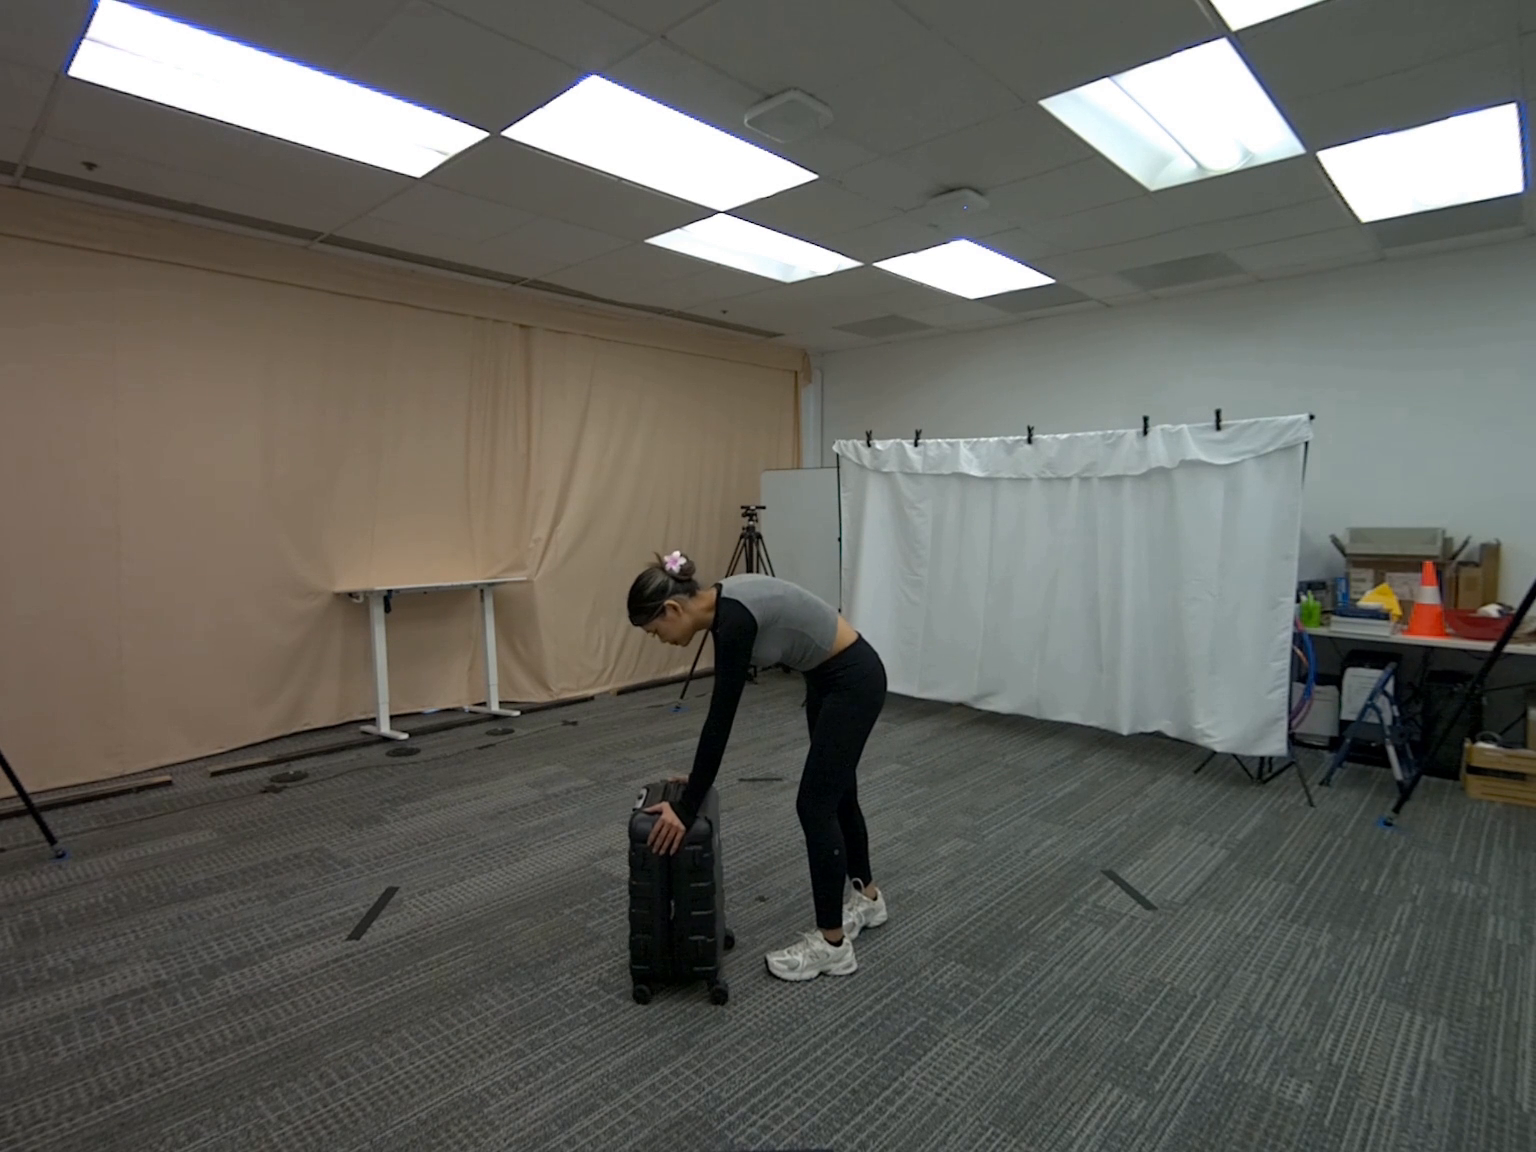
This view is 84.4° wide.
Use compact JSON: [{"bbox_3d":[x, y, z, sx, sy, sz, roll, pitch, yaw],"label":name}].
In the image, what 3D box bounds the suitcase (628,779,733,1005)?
[{"bbox_3d":[-0.266,0.914,2.502,0.248,0.548,0.376,-2,3,-1],"label":"suitcase"}]
